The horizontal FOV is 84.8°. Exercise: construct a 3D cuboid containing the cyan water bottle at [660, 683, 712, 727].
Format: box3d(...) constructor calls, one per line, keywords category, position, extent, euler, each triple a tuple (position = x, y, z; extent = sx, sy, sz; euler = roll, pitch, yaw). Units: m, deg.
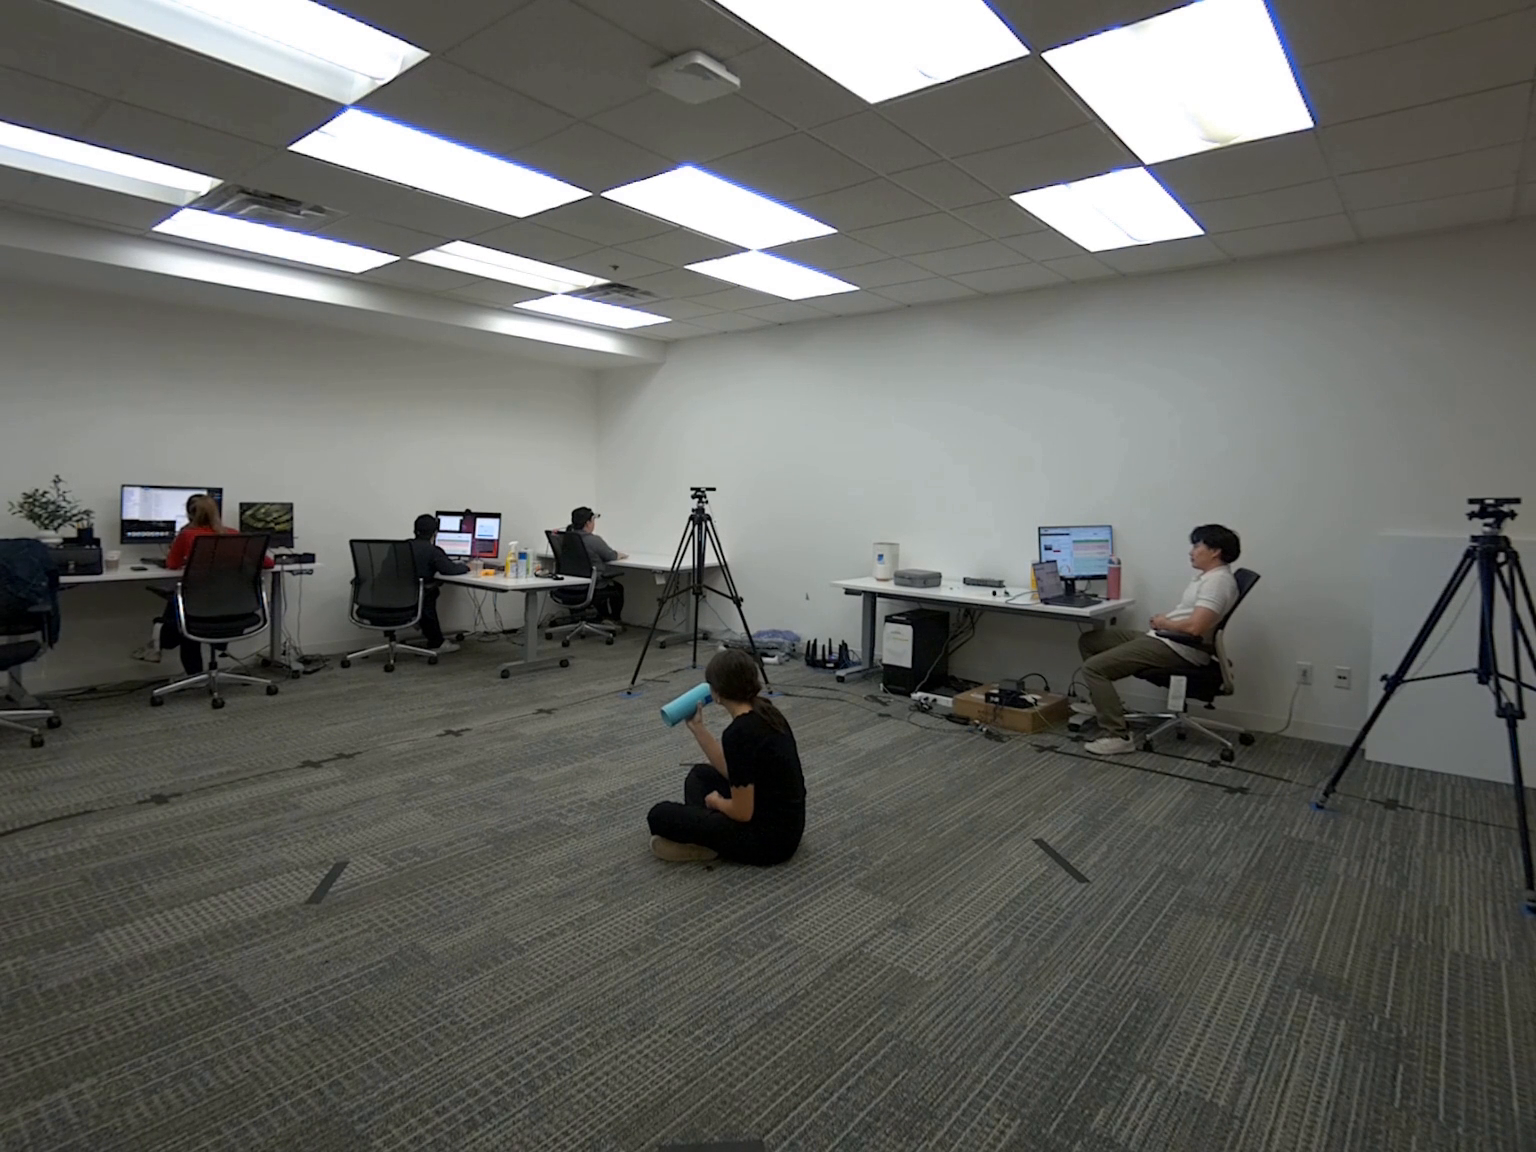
box3d(category="cyan water bottle", position=(-0.326, 0.523, 3.587), extent=(0.280, 0.090, 0.095), euler=(-29, 18, -25))
